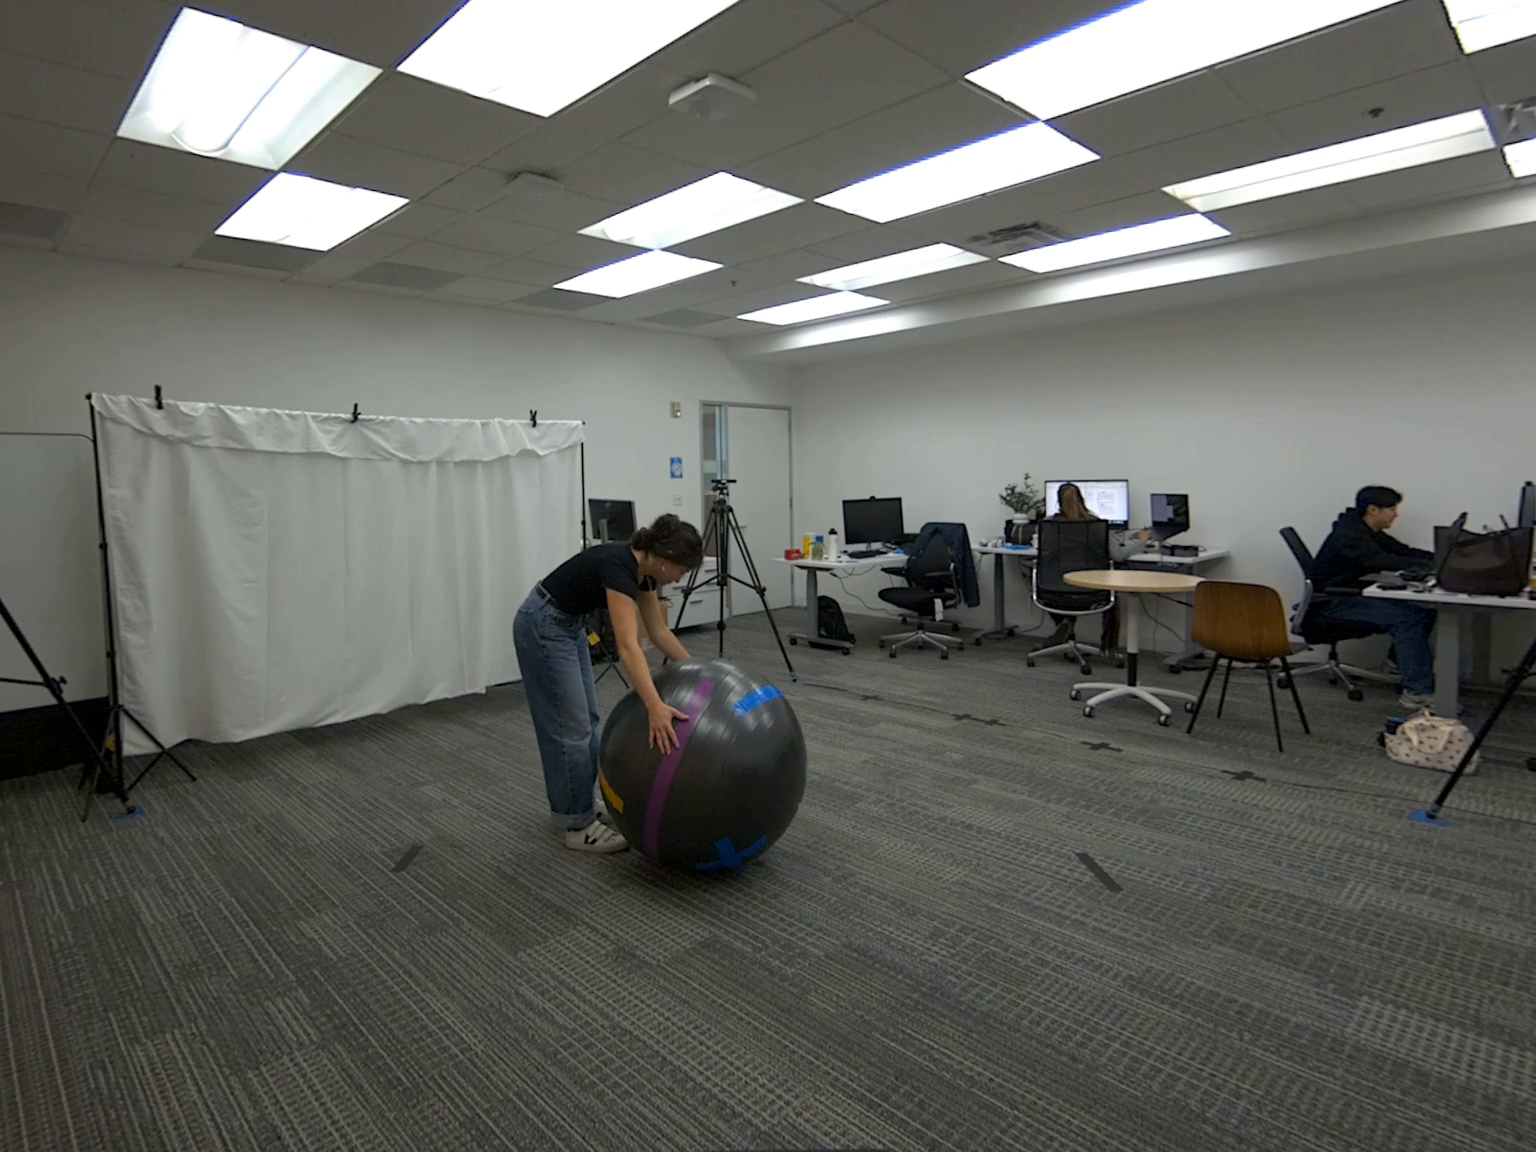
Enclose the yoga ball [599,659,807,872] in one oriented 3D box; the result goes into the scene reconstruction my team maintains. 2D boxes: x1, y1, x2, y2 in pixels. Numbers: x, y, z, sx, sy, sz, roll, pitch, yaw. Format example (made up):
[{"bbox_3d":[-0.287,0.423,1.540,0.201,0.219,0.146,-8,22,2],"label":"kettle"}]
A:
[{"bbox_3d":[-0.228,0.676,3.112,0.757,0.755,0.762,-1,5,-2],"label":"yoga ball"}]
